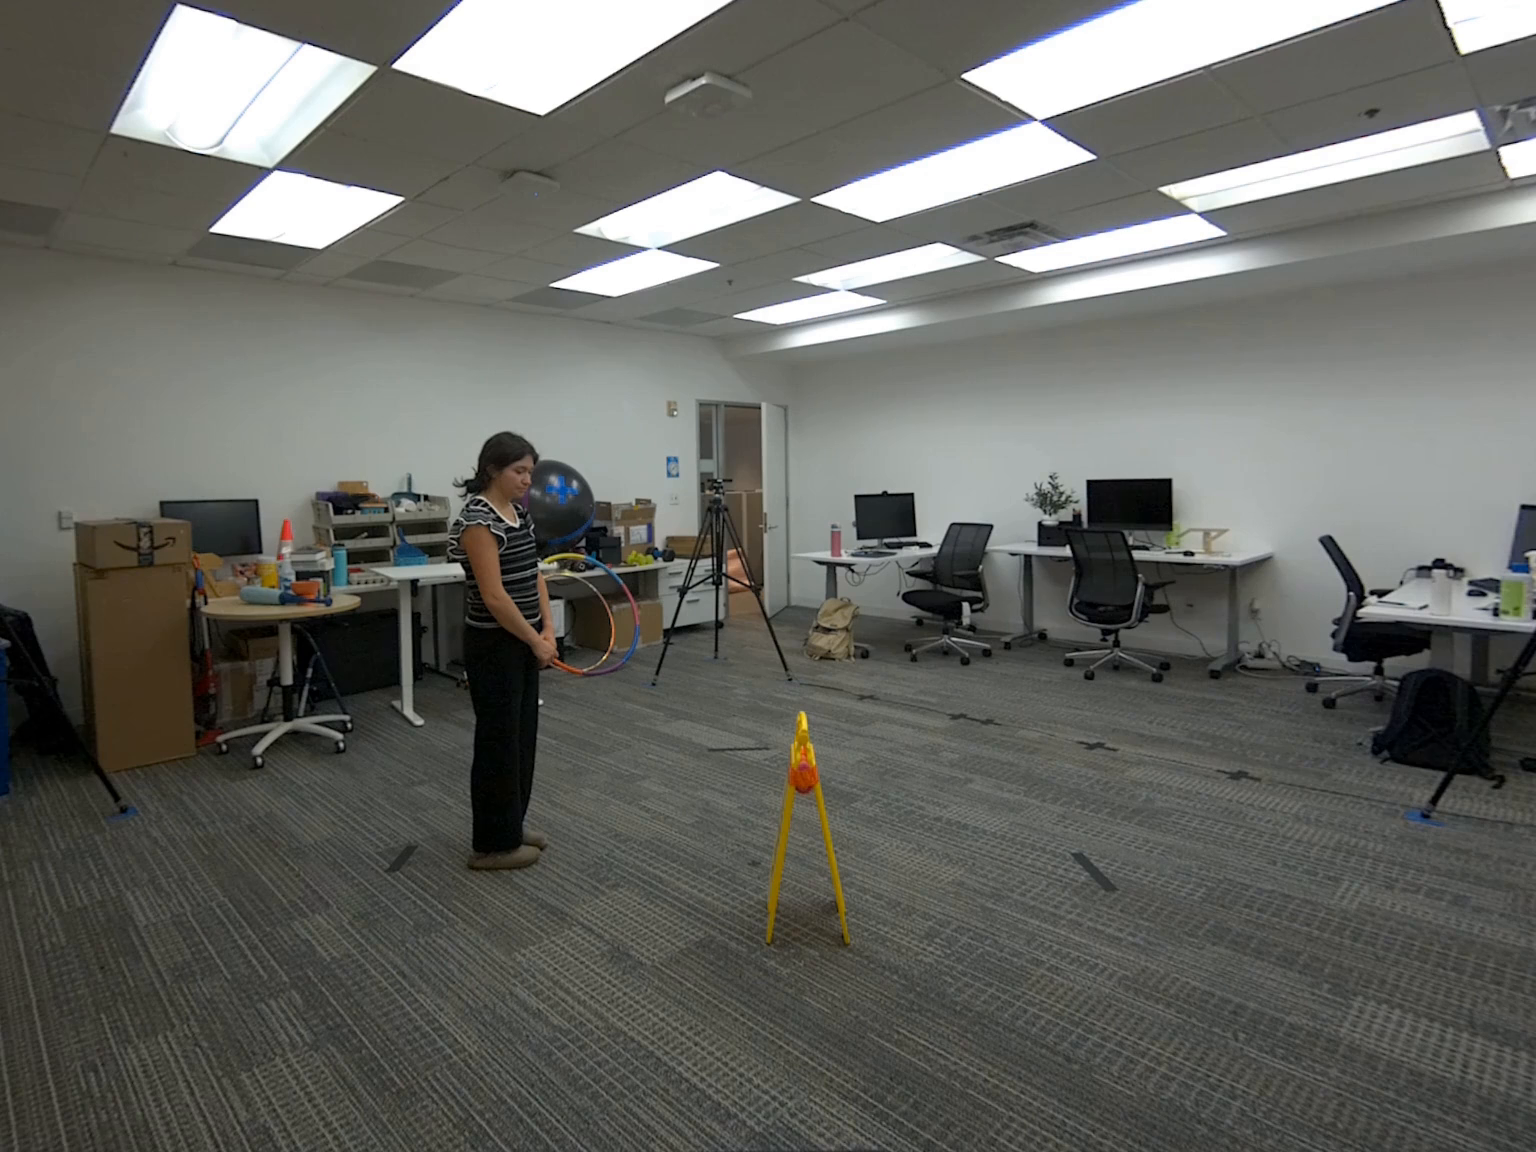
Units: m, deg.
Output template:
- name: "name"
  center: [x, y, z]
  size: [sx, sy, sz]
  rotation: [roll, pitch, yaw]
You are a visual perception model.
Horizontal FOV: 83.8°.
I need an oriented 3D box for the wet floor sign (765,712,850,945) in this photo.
- name: "wet floor sign"
  center: [0.114, 0.769, 2.671]
  size: [0.290, 0.645, 0.282]
  rotation: [-2, 2, 2]
